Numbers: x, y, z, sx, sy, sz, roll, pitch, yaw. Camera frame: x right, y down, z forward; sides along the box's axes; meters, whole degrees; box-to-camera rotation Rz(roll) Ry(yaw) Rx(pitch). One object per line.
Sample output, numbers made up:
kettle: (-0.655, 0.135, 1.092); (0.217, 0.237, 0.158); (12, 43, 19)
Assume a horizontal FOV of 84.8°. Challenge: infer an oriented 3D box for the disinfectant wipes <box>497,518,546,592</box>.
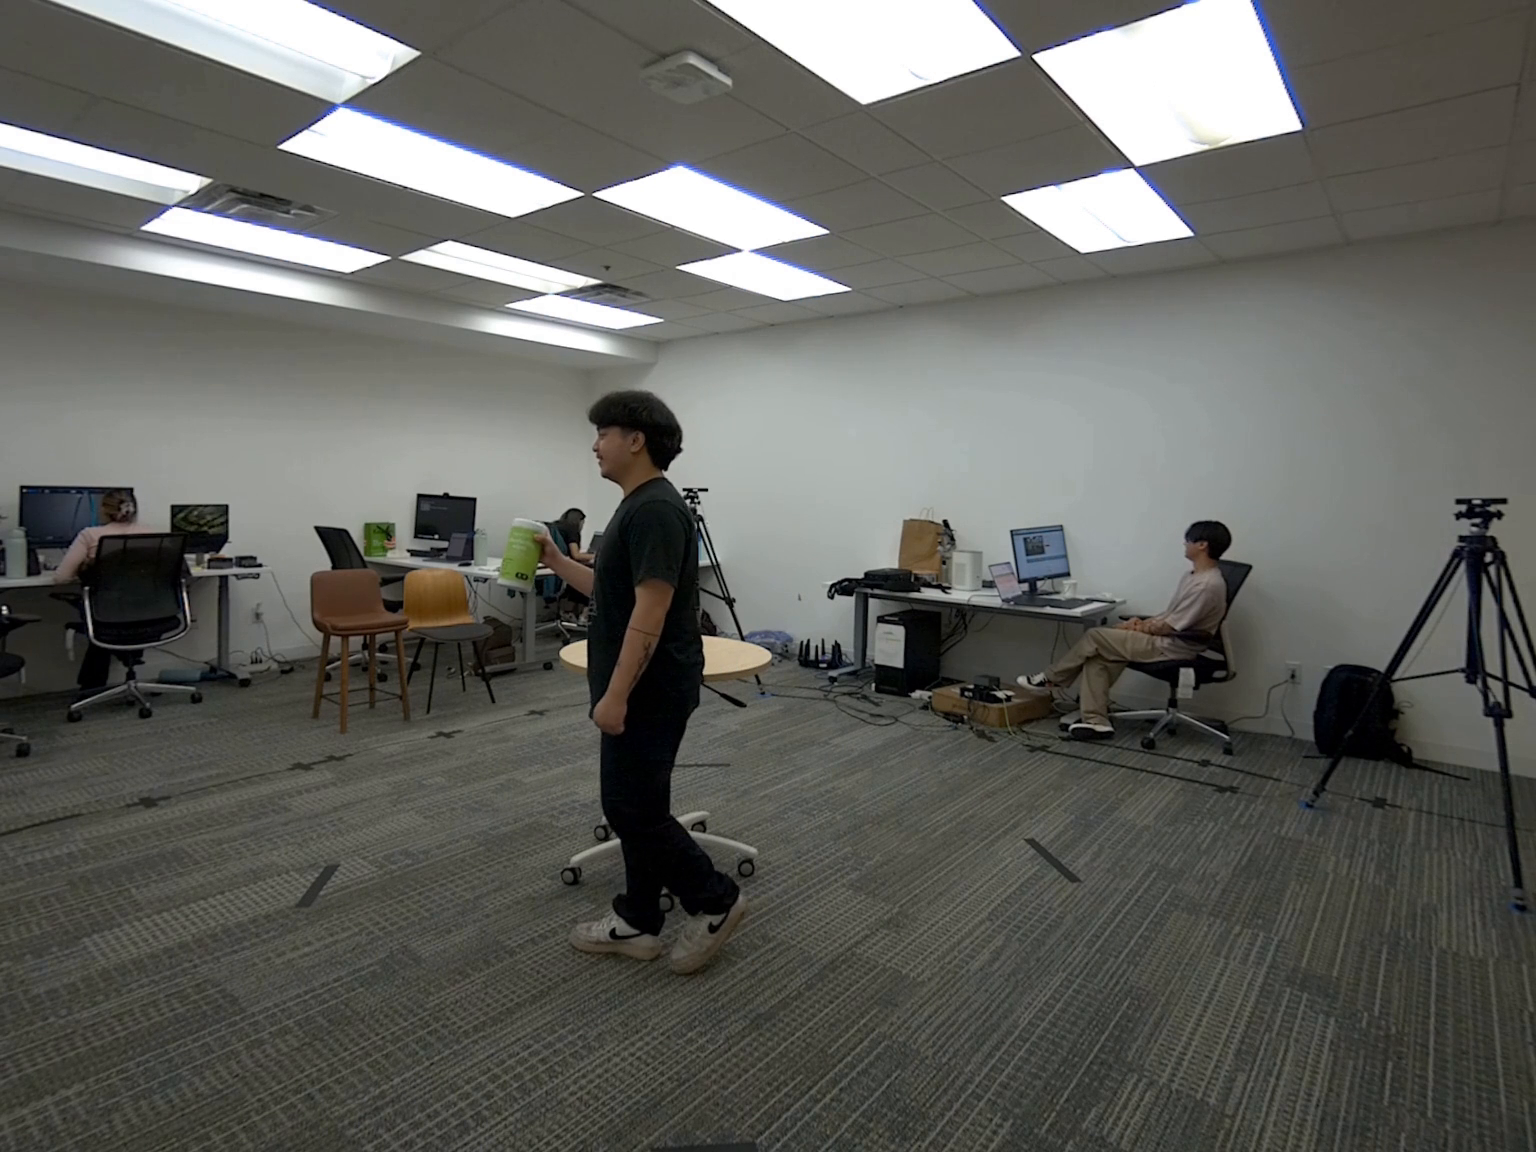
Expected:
disinfectant wipes: (-0.779, -0.068, 2.678); (0.118, 0.219, 0.117); (11, -7, -1)
